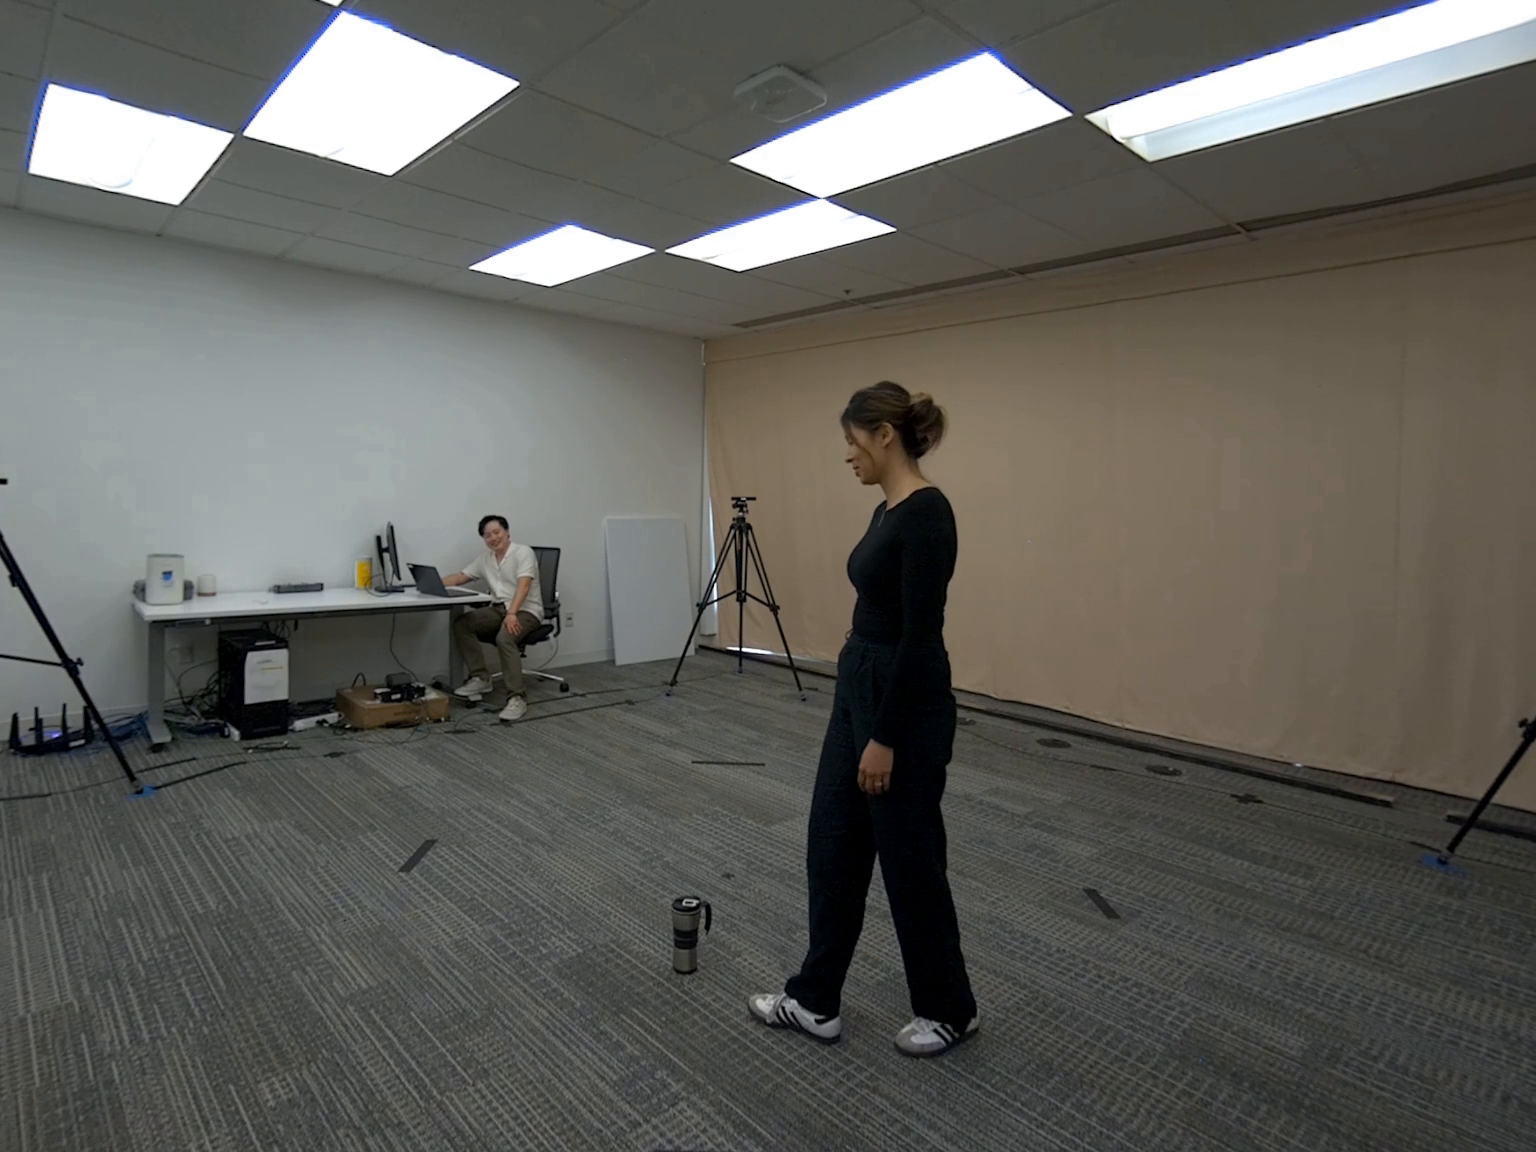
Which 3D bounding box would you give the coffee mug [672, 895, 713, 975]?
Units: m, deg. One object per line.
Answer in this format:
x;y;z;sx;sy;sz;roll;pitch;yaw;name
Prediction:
-0.224;1.066;2.473;0.121;0.203;0.089;-1;2;-10;coffee mug
